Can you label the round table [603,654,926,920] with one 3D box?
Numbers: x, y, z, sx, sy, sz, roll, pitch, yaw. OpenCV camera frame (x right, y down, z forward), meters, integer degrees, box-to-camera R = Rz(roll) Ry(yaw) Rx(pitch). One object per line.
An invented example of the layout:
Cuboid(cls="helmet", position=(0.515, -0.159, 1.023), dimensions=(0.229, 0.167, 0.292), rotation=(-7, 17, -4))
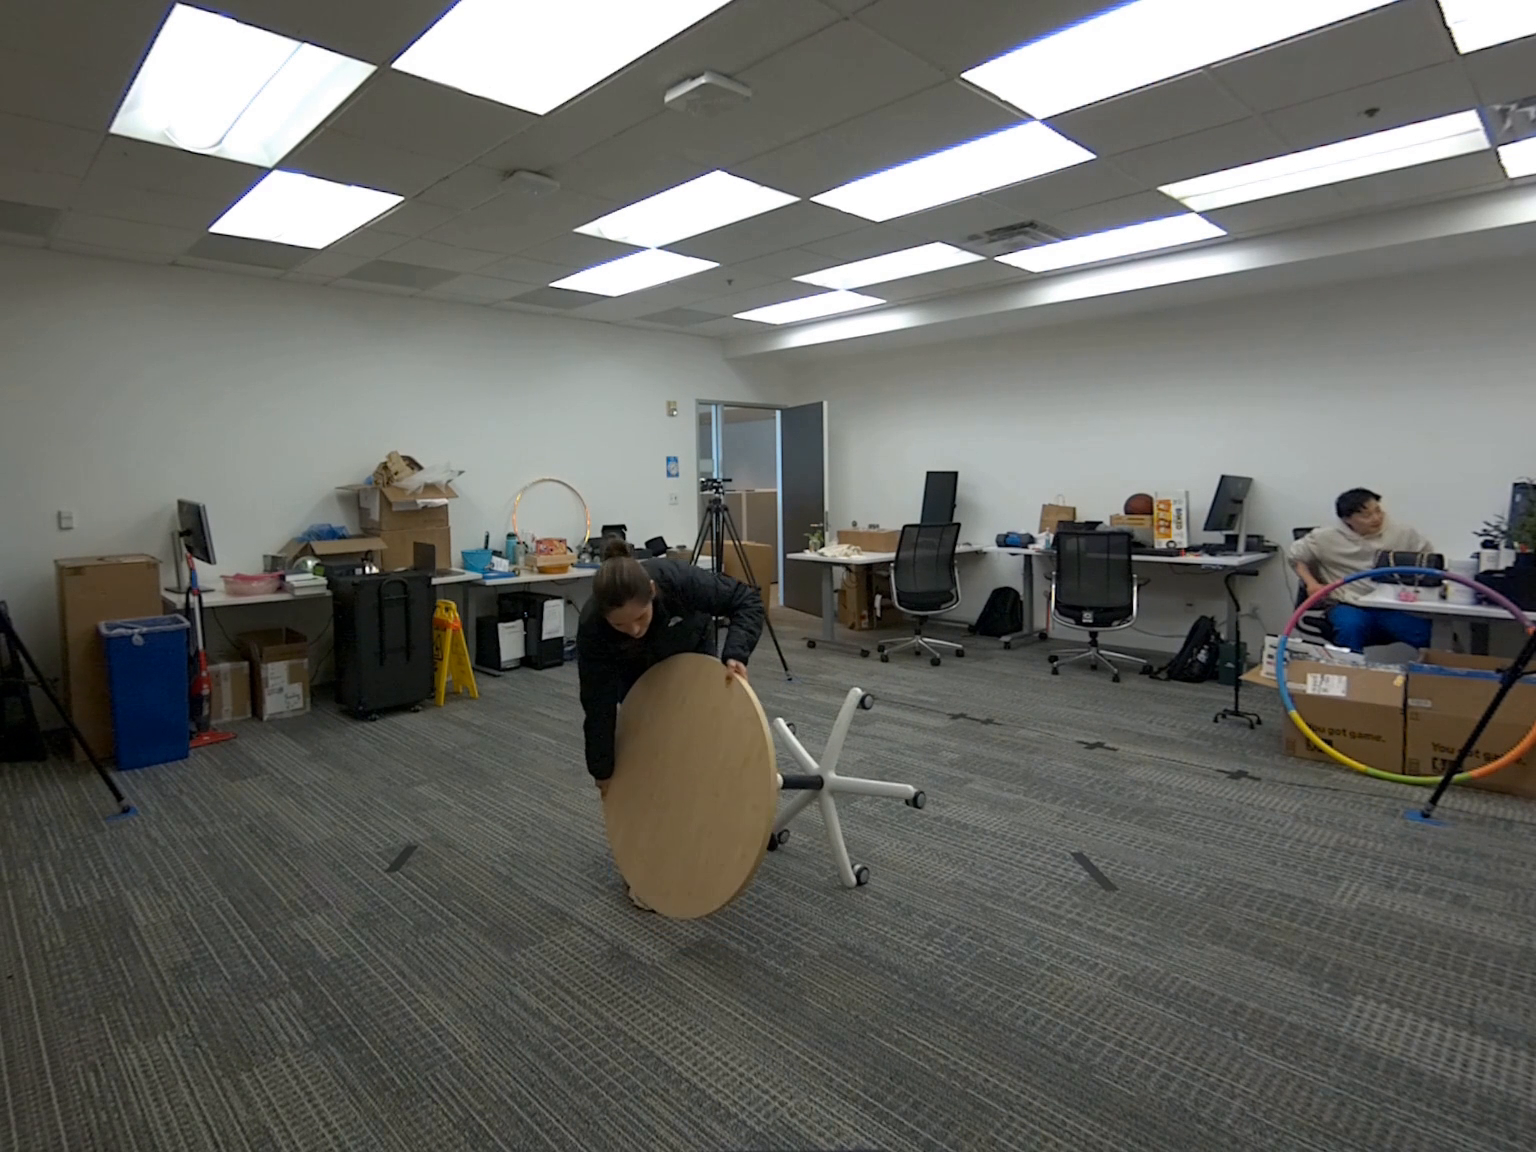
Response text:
Cuboid(cls="round table", position=(0.011, 0.685, 2.847), dimensions=(0.759, 0.789, 0.809), rotation=(15, -7, -43))
